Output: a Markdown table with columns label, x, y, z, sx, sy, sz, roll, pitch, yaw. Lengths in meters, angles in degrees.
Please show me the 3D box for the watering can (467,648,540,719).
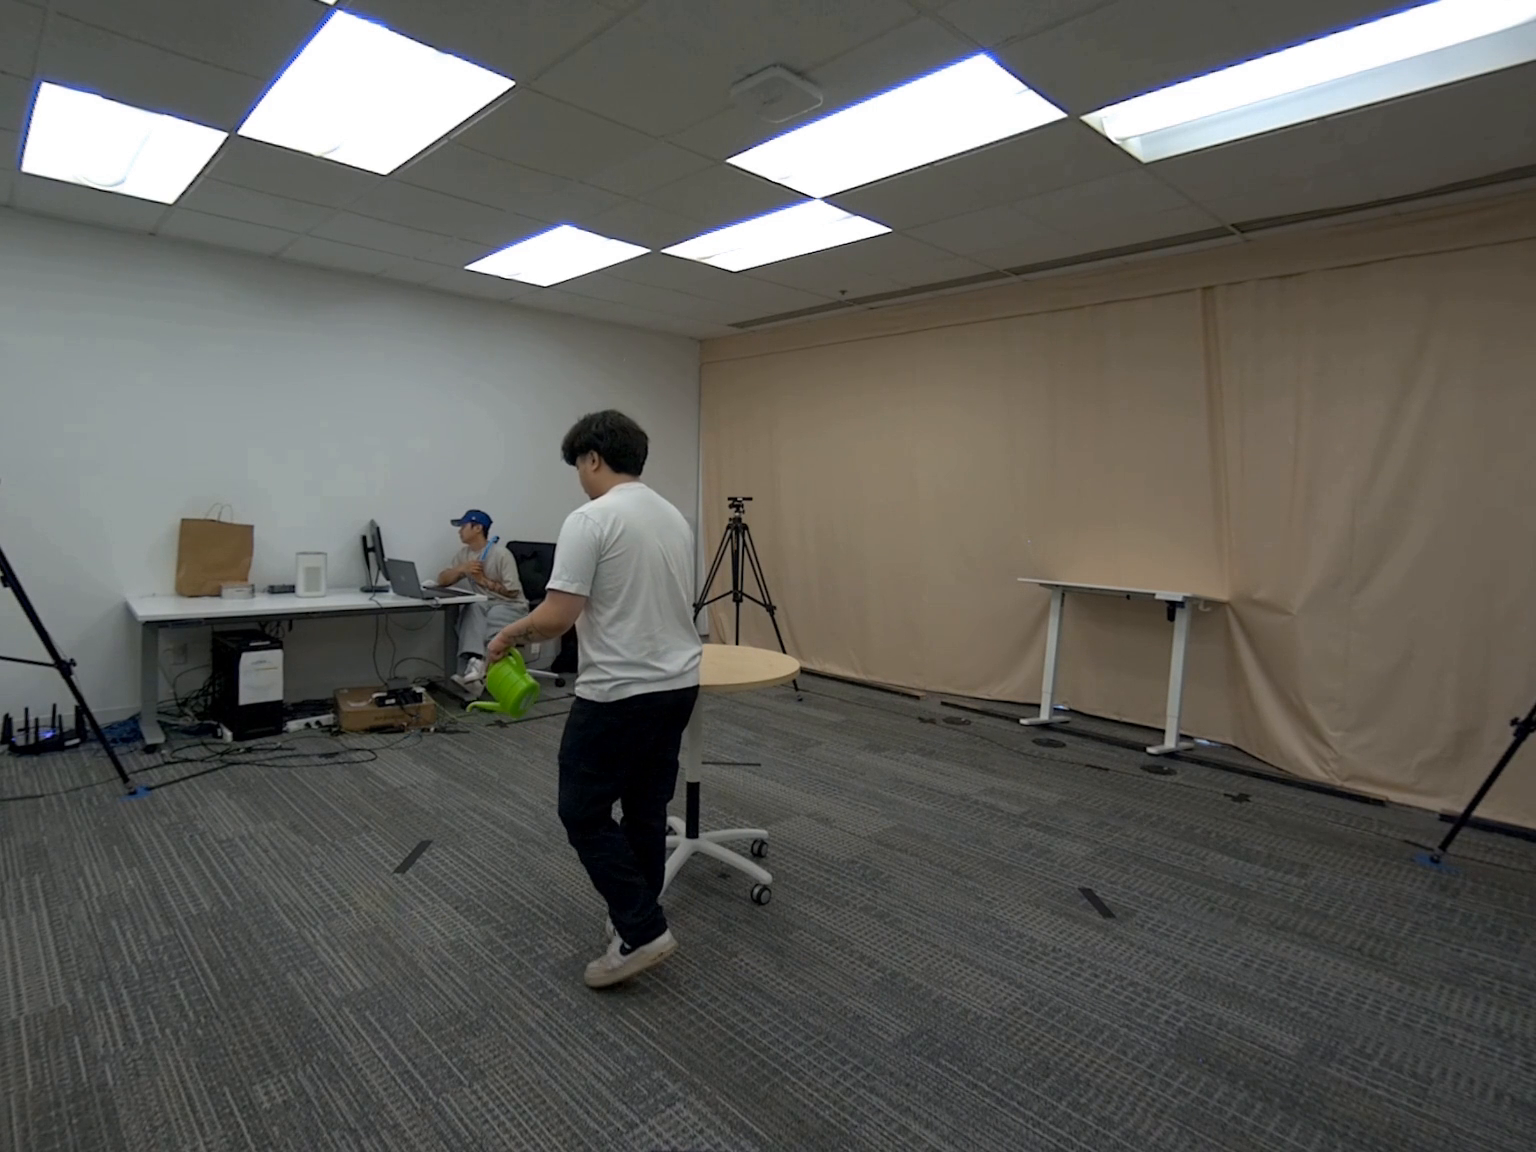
| label | x | y | z | sx | sy | sz | roll | pitch | yaw |
| --- | --- | --- | --- | --- | --- | --- | --- | --- | --- |
| watering can | -0.783 | 0.349 | 2.509 | 0.181 | 0.276 | 0.096 | 41 | 30 | 25 |
